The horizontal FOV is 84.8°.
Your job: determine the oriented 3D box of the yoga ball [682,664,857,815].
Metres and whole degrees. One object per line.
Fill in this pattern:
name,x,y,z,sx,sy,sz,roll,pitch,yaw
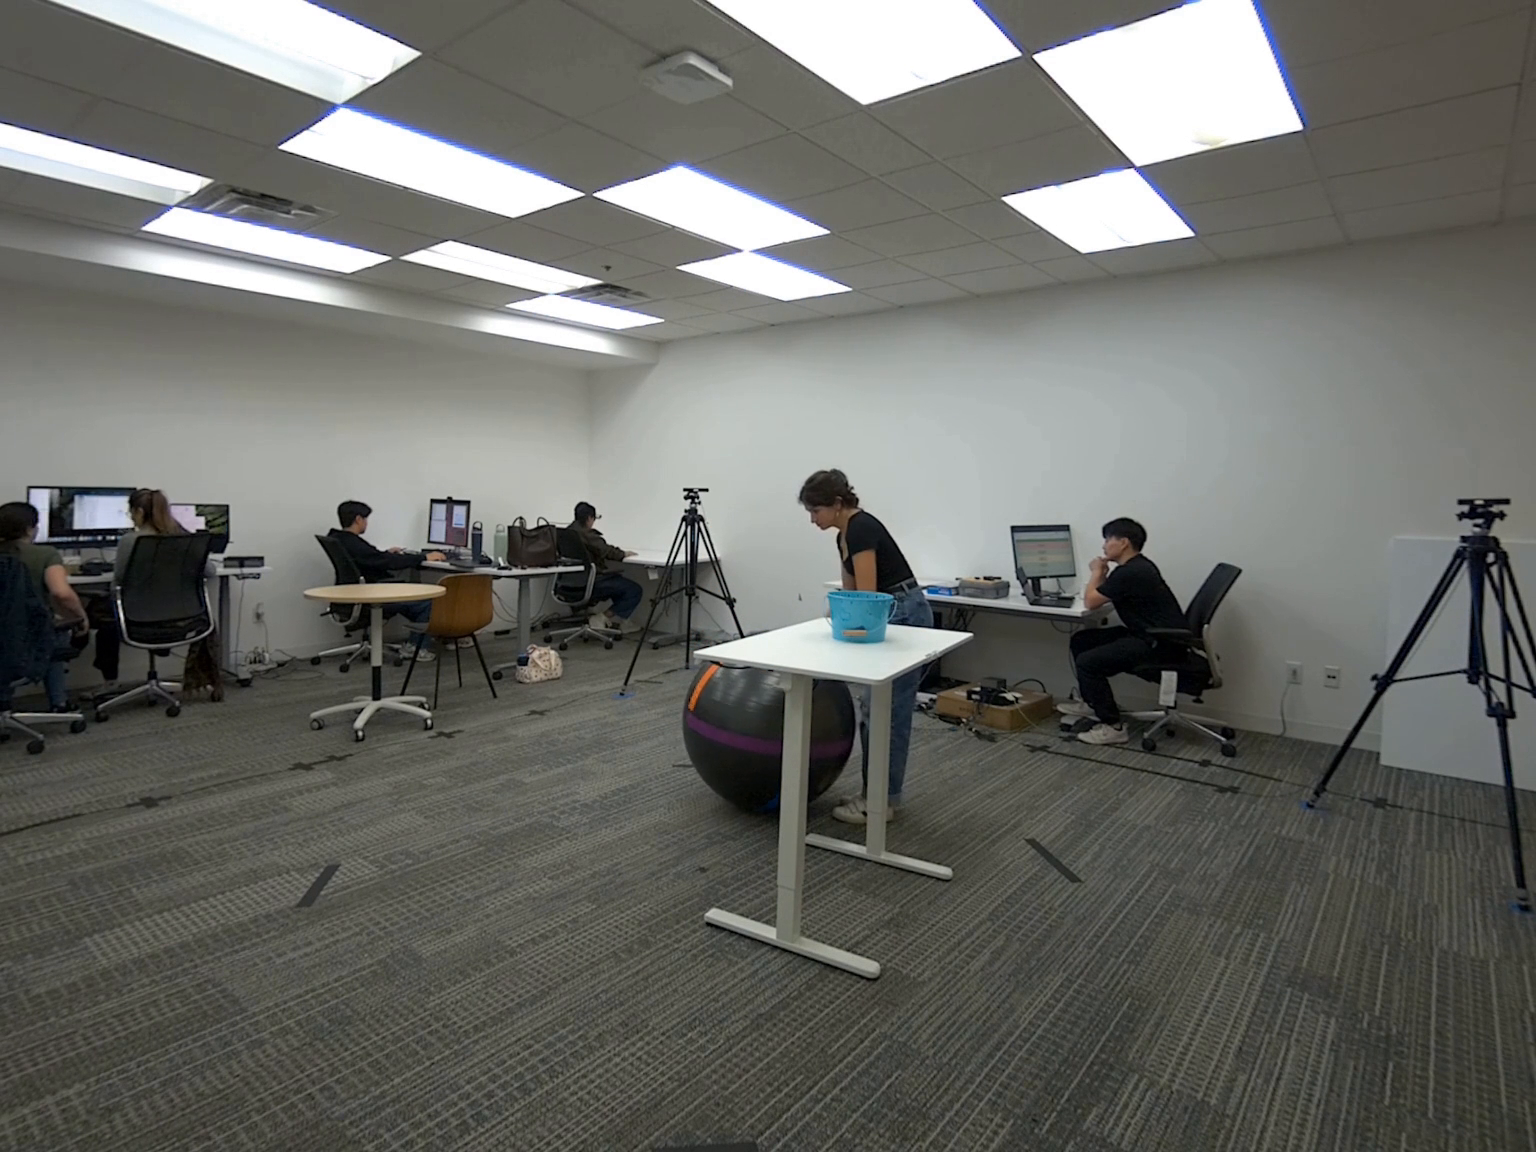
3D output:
yoga ball,-0.009,0.652,3.768,0.757,0.756,0.762,1,4,-2
